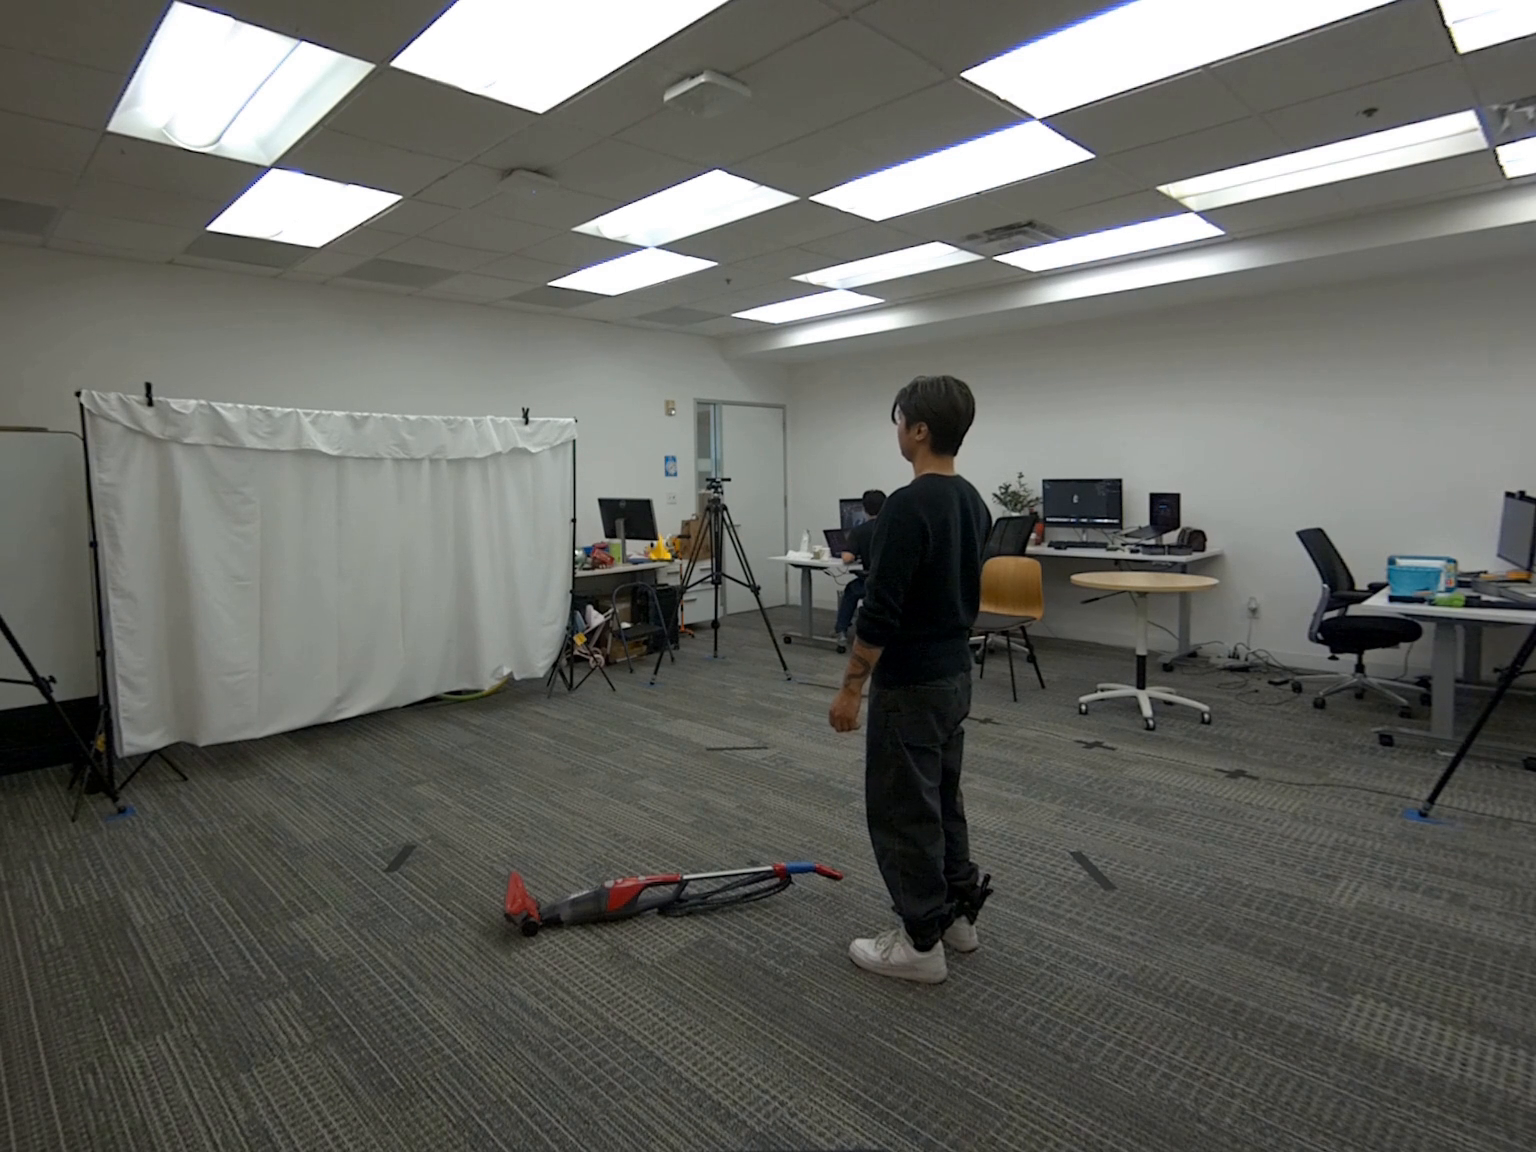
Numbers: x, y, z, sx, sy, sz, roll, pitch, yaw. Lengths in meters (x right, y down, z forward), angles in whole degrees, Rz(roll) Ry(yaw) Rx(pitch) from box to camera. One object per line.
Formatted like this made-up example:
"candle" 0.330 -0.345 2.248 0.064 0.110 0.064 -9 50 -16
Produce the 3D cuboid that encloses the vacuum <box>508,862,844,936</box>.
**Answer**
"vacuum" -0.265 1.023 2.769 1.039 0.143 0.257 -1 11 -10
